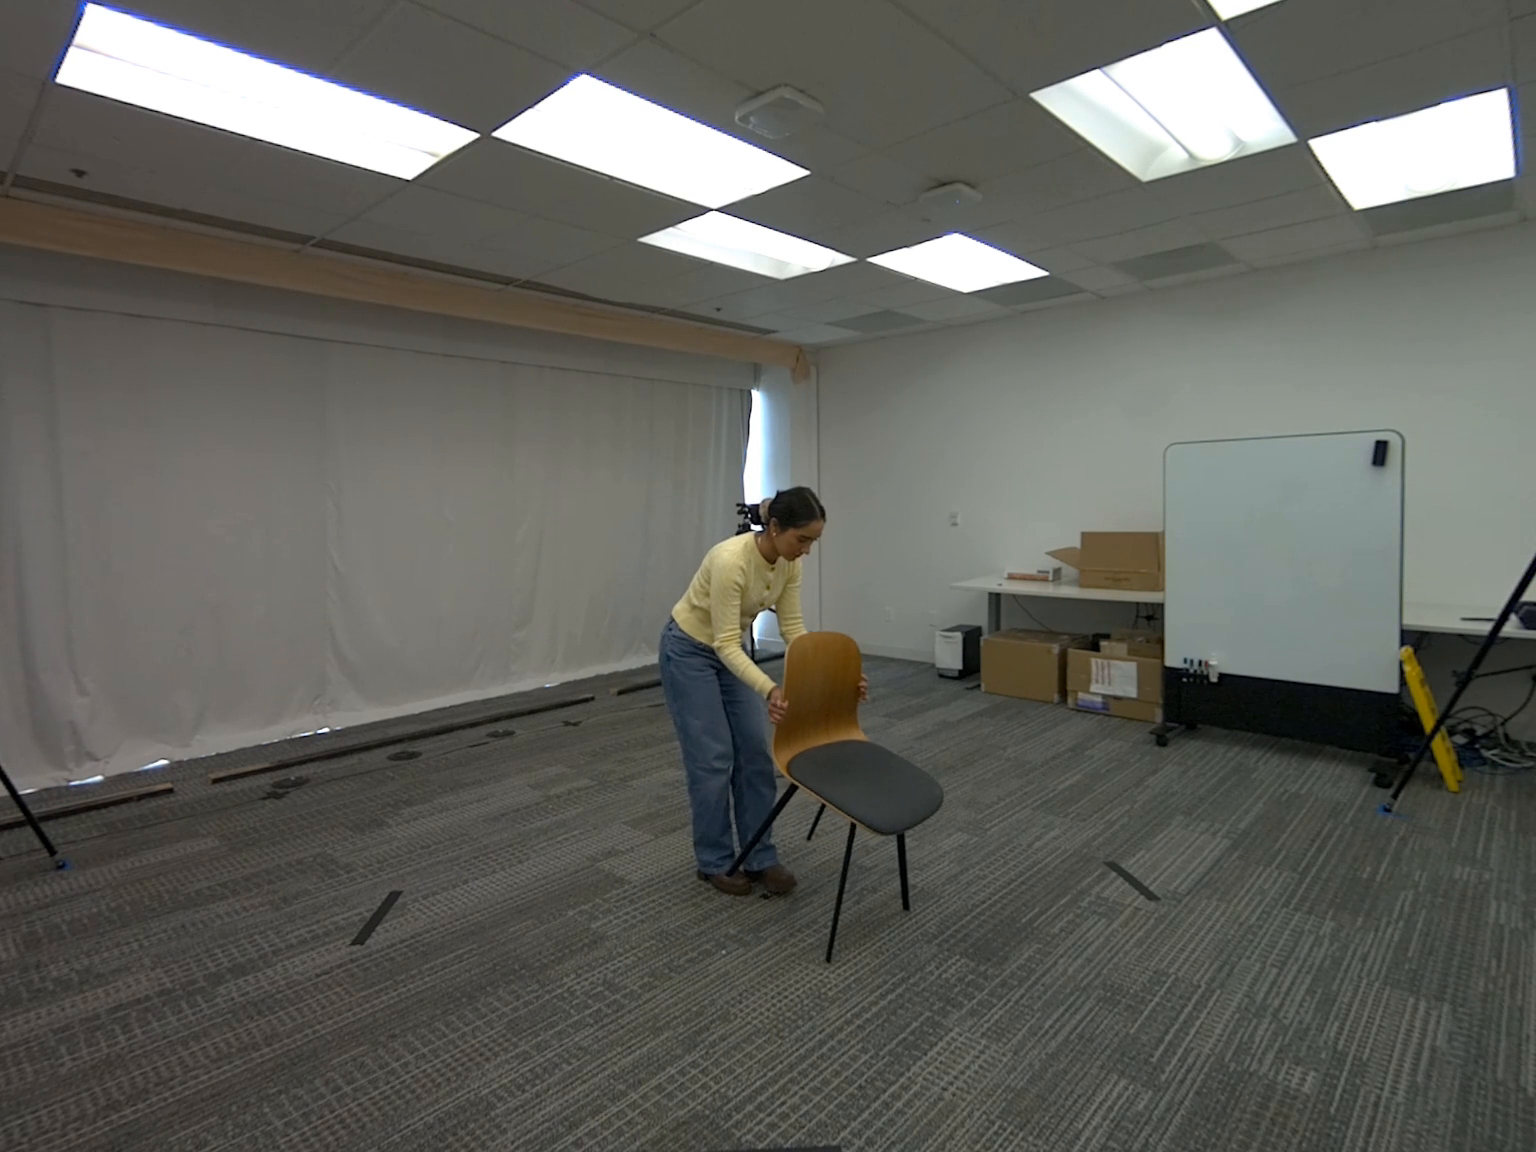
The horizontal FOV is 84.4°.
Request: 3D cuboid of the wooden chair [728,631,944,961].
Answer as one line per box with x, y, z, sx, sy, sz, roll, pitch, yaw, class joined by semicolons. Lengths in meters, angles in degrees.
0.273;0.681;2.727;0.542;0.872;0.463;20;16;40;wooden chair
